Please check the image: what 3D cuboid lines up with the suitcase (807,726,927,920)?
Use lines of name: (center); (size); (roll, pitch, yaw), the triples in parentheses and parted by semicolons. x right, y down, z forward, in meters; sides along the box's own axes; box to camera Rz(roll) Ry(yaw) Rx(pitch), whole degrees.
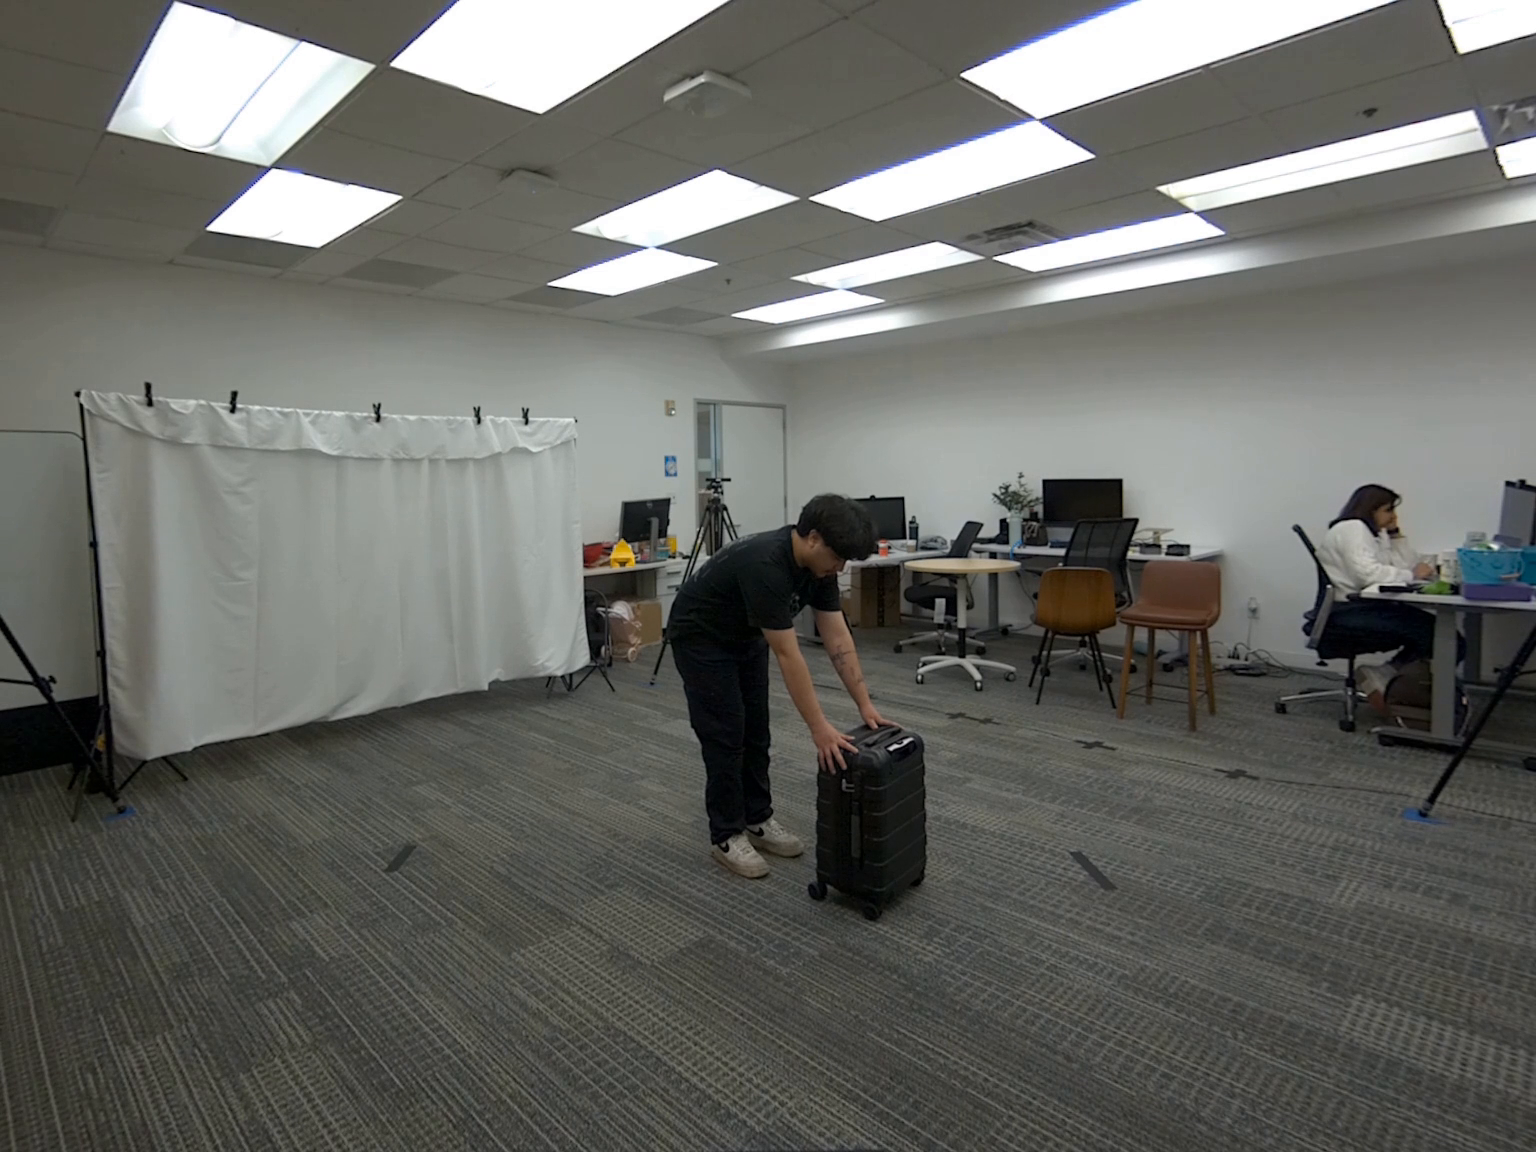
suitcase: (0.353, 0.793, 2.844); (0.256, 0.547, 0.366); (4, 6, 37)
